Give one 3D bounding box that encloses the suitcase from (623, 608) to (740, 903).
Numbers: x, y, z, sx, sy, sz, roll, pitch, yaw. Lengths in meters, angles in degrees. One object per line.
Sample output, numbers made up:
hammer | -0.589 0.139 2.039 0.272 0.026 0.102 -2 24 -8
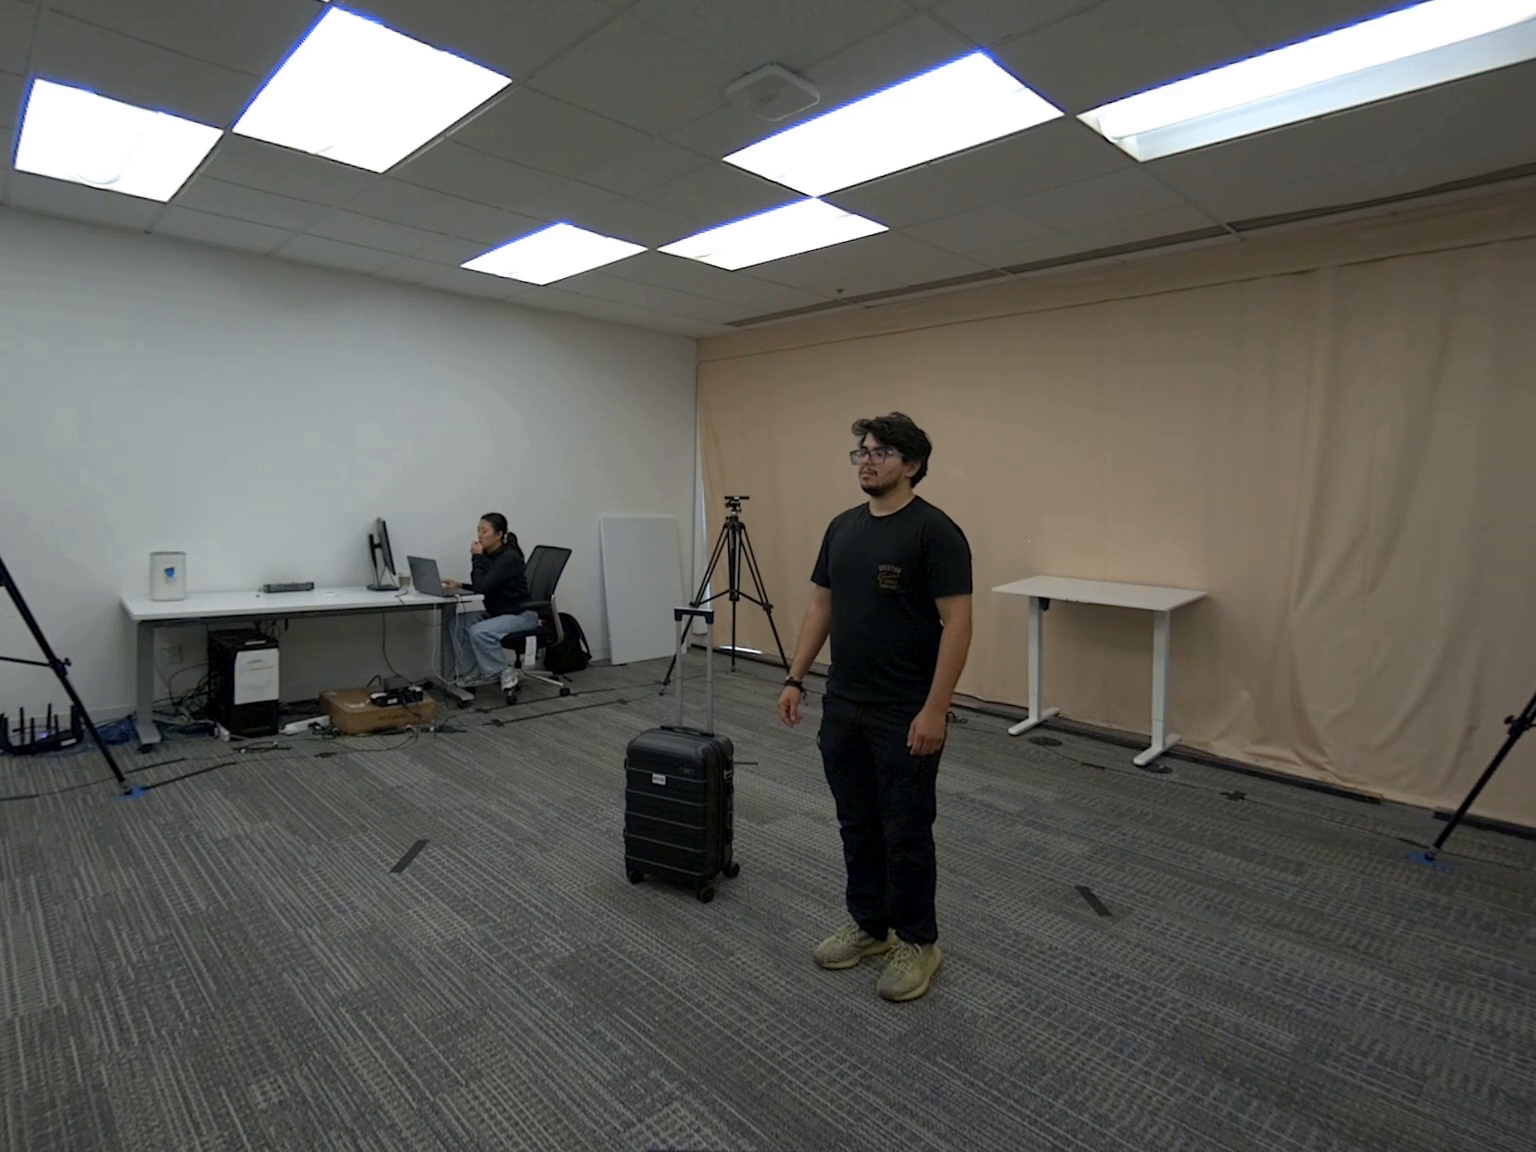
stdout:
suitcase | -0.321 0.634 3.012 0.391 0.974 0.253 3 7 24
